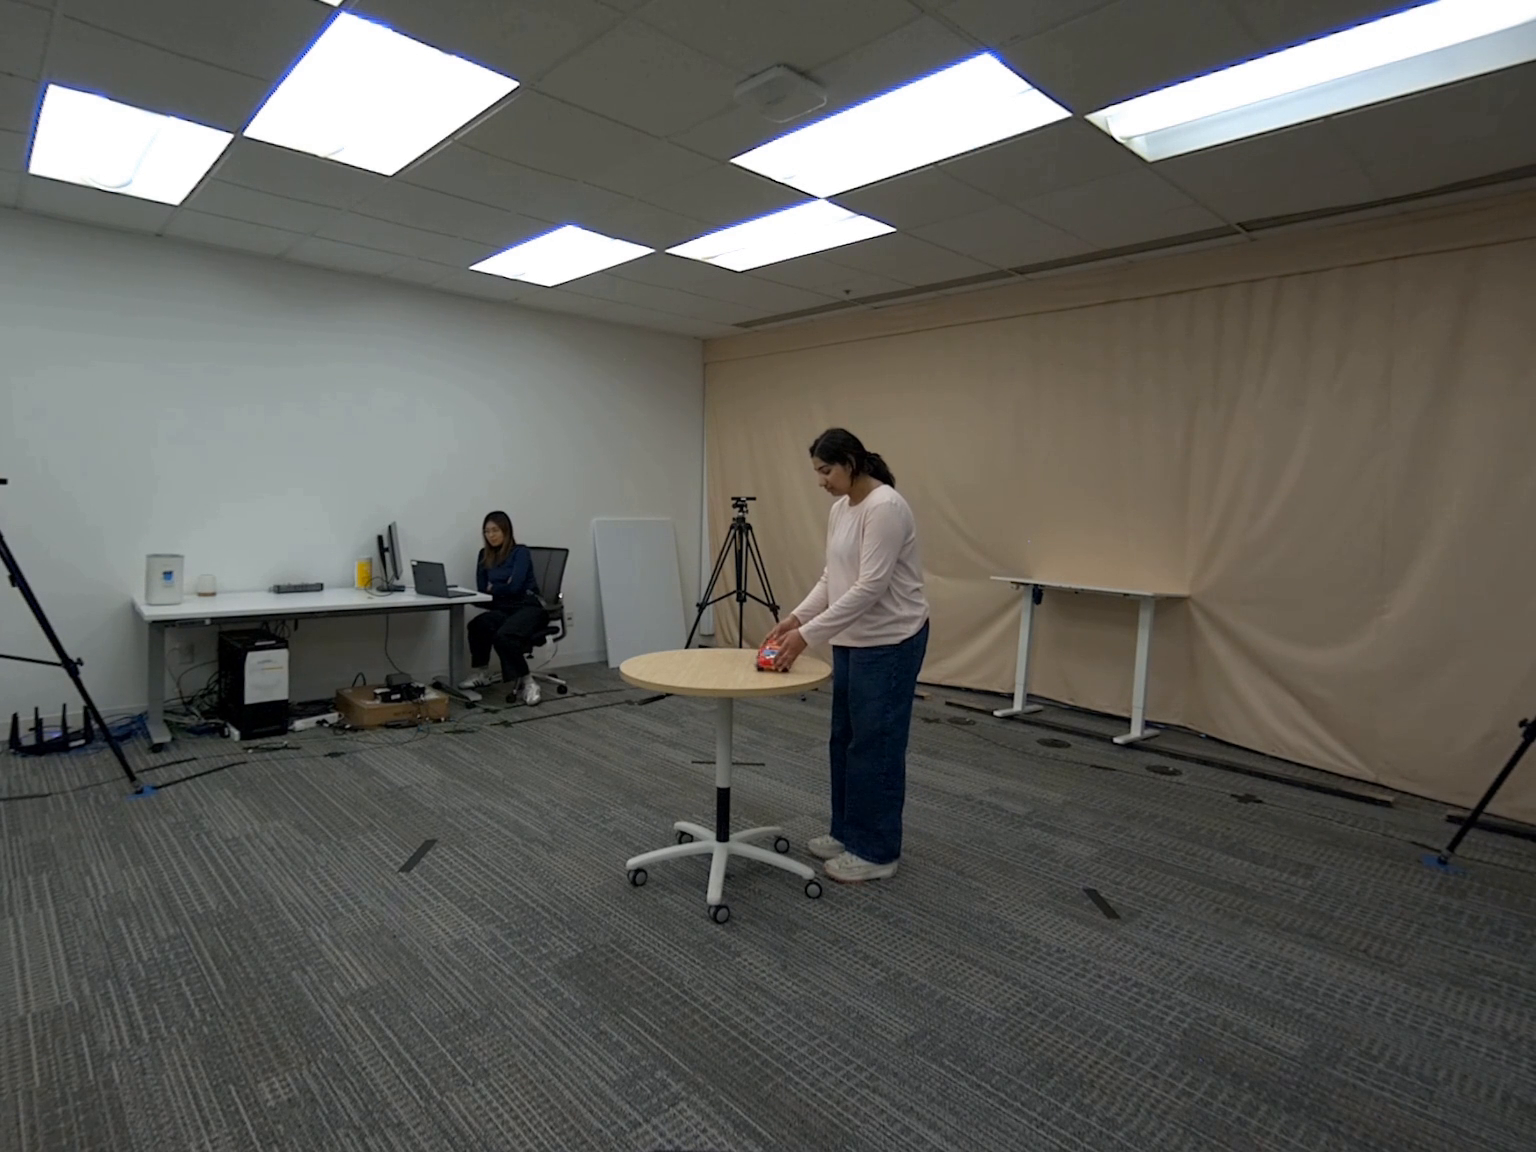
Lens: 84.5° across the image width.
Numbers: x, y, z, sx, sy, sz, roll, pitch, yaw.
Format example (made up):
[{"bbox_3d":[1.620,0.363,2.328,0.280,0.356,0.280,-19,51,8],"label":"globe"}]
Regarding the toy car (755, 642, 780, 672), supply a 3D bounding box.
[{"bbox_3d":[0.012,0.297,3.063,0.131,0.082,0.257,0,17,3],"label":"toy car"}]
